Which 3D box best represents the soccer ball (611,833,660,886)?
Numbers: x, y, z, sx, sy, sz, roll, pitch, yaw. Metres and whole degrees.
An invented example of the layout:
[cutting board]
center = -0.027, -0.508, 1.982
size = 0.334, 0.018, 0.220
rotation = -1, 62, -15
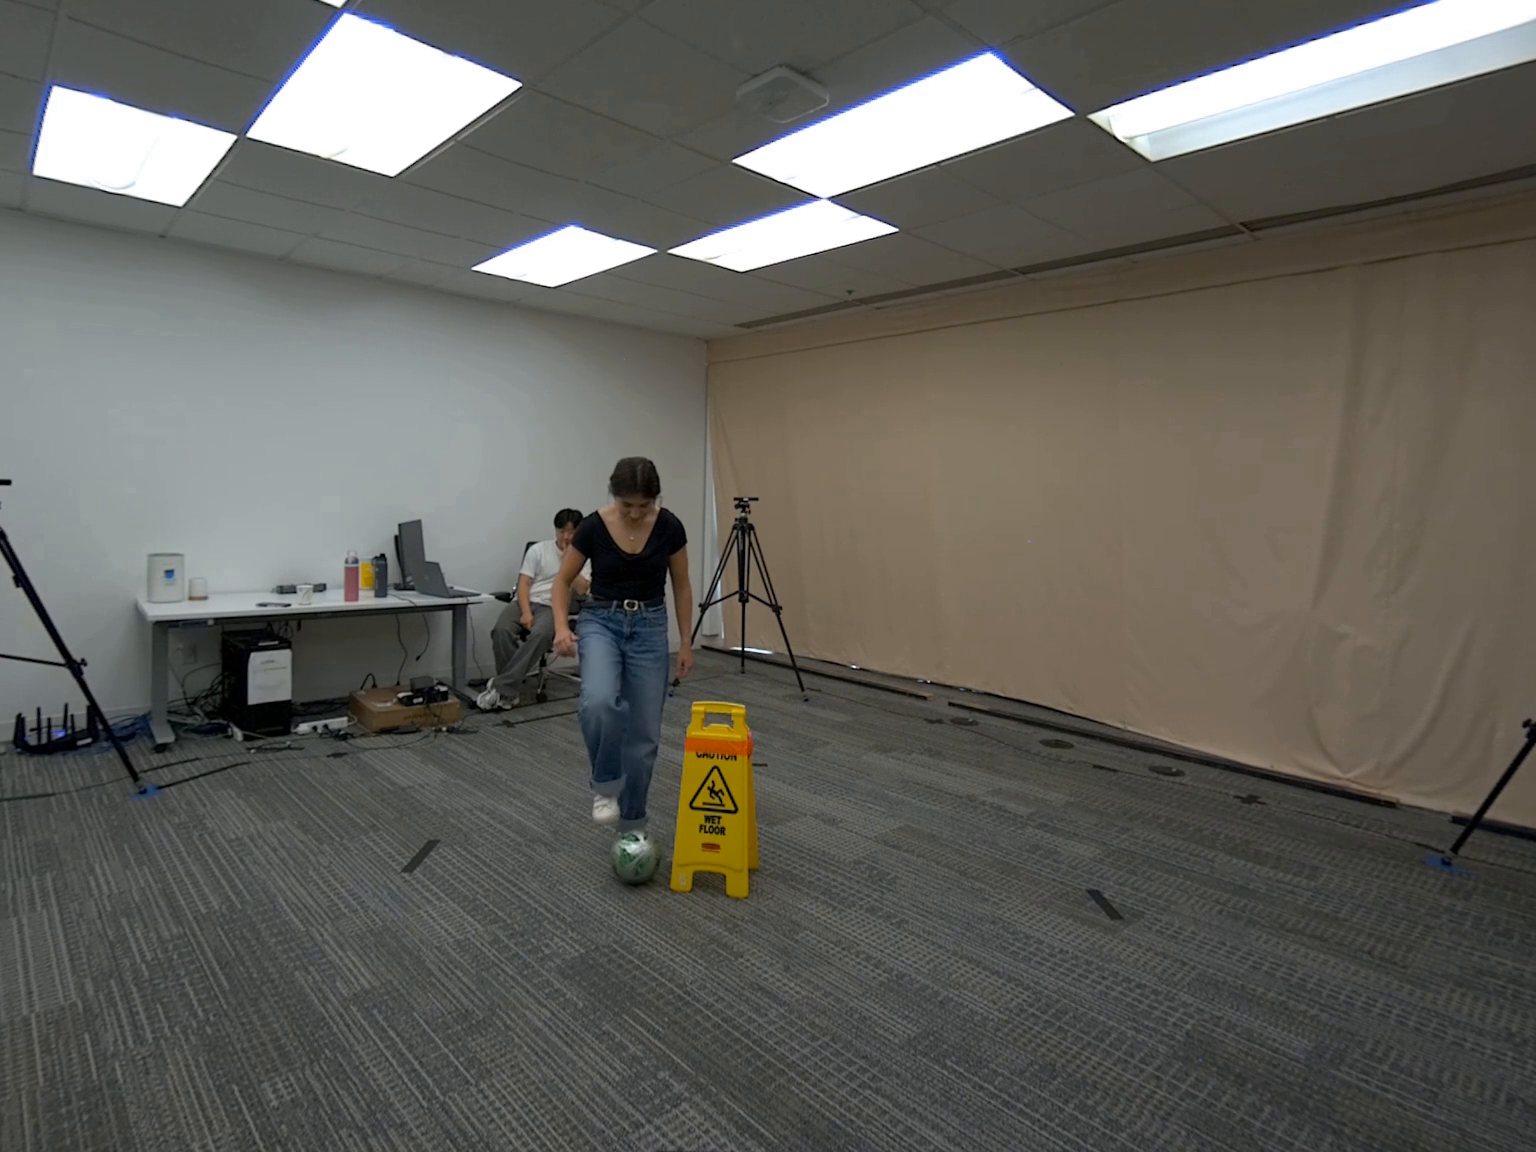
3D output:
[soccer ball]
center = -0.488, 1.020, 3.037
size = 0.187, 0.187, 0.188
rotation = 1, 4, -1
